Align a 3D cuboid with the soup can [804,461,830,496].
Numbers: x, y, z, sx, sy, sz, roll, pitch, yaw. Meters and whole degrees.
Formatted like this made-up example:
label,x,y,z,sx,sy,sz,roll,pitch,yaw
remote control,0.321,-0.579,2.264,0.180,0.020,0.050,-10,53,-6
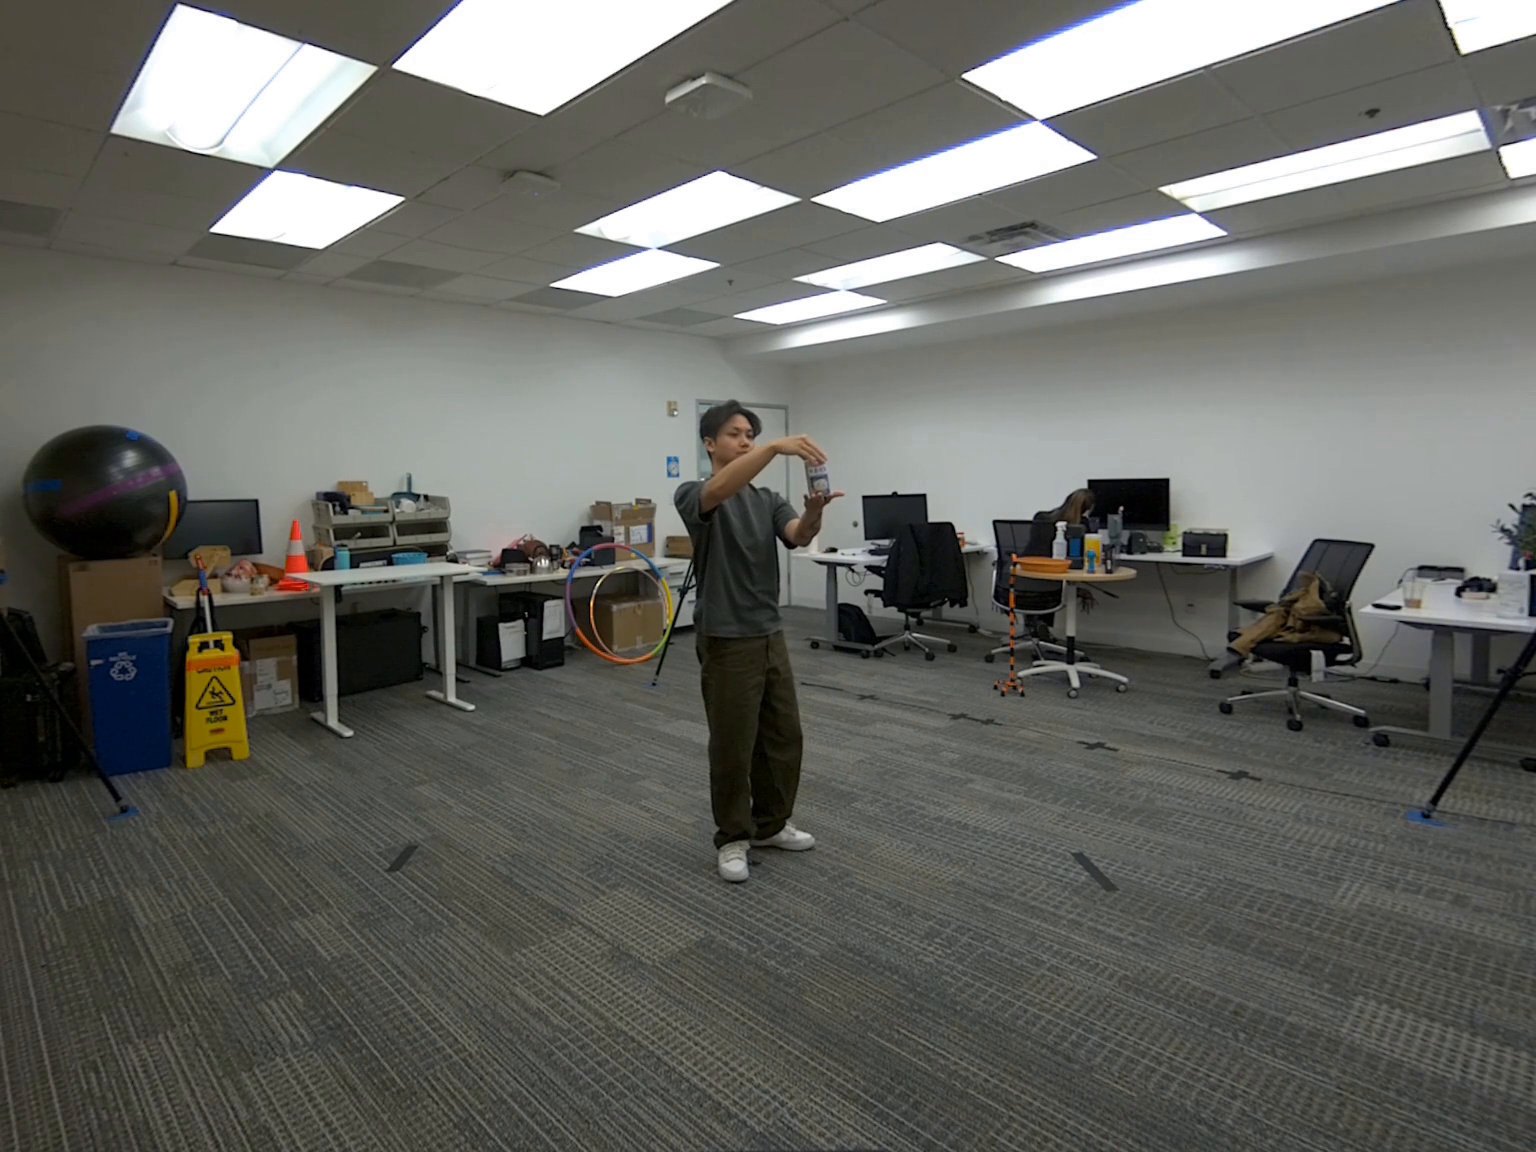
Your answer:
label,x,y,z,sx,sy,sz,roll,pitch,yaw
soup can,0.154,-0.302,2.641,0.067,0.121,0.067,-7,3,-1
